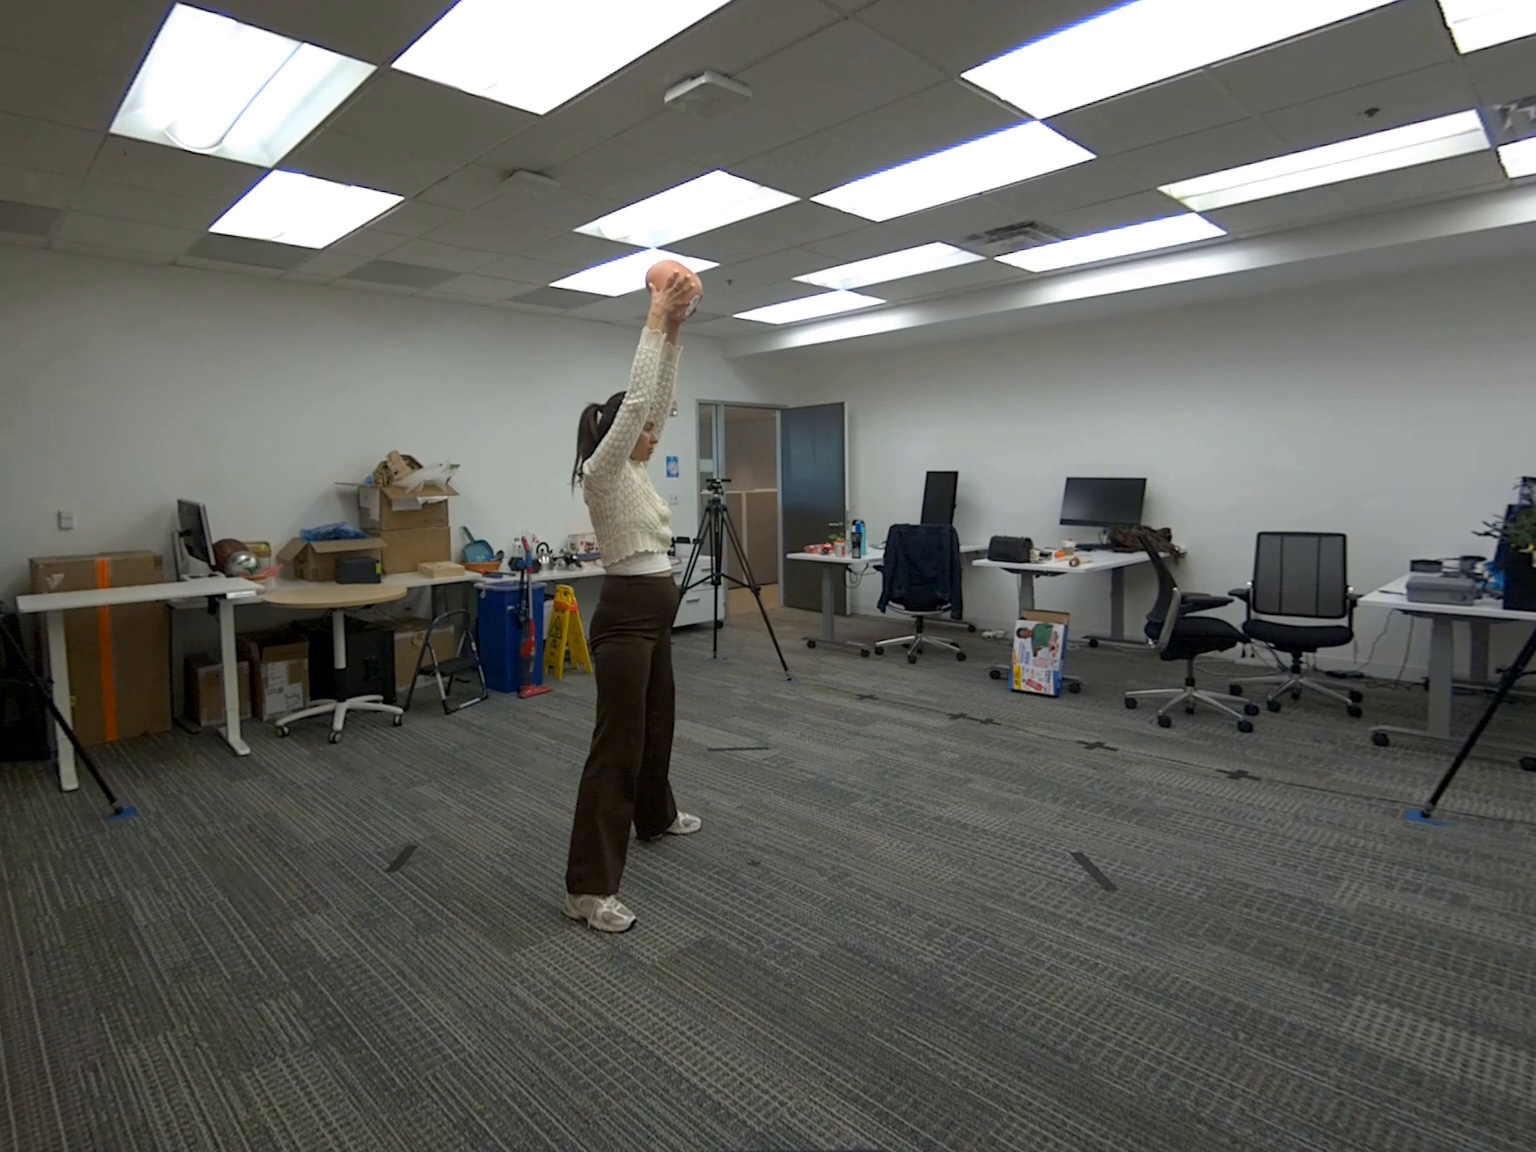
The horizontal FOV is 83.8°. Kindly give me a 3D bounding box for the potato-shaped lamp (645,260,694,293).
[{"bbox_3d":[-0.326,-0.983,2.901,0.199,0.171,0.164,38,15,2],"label":"potato-shaped lamp"}]
